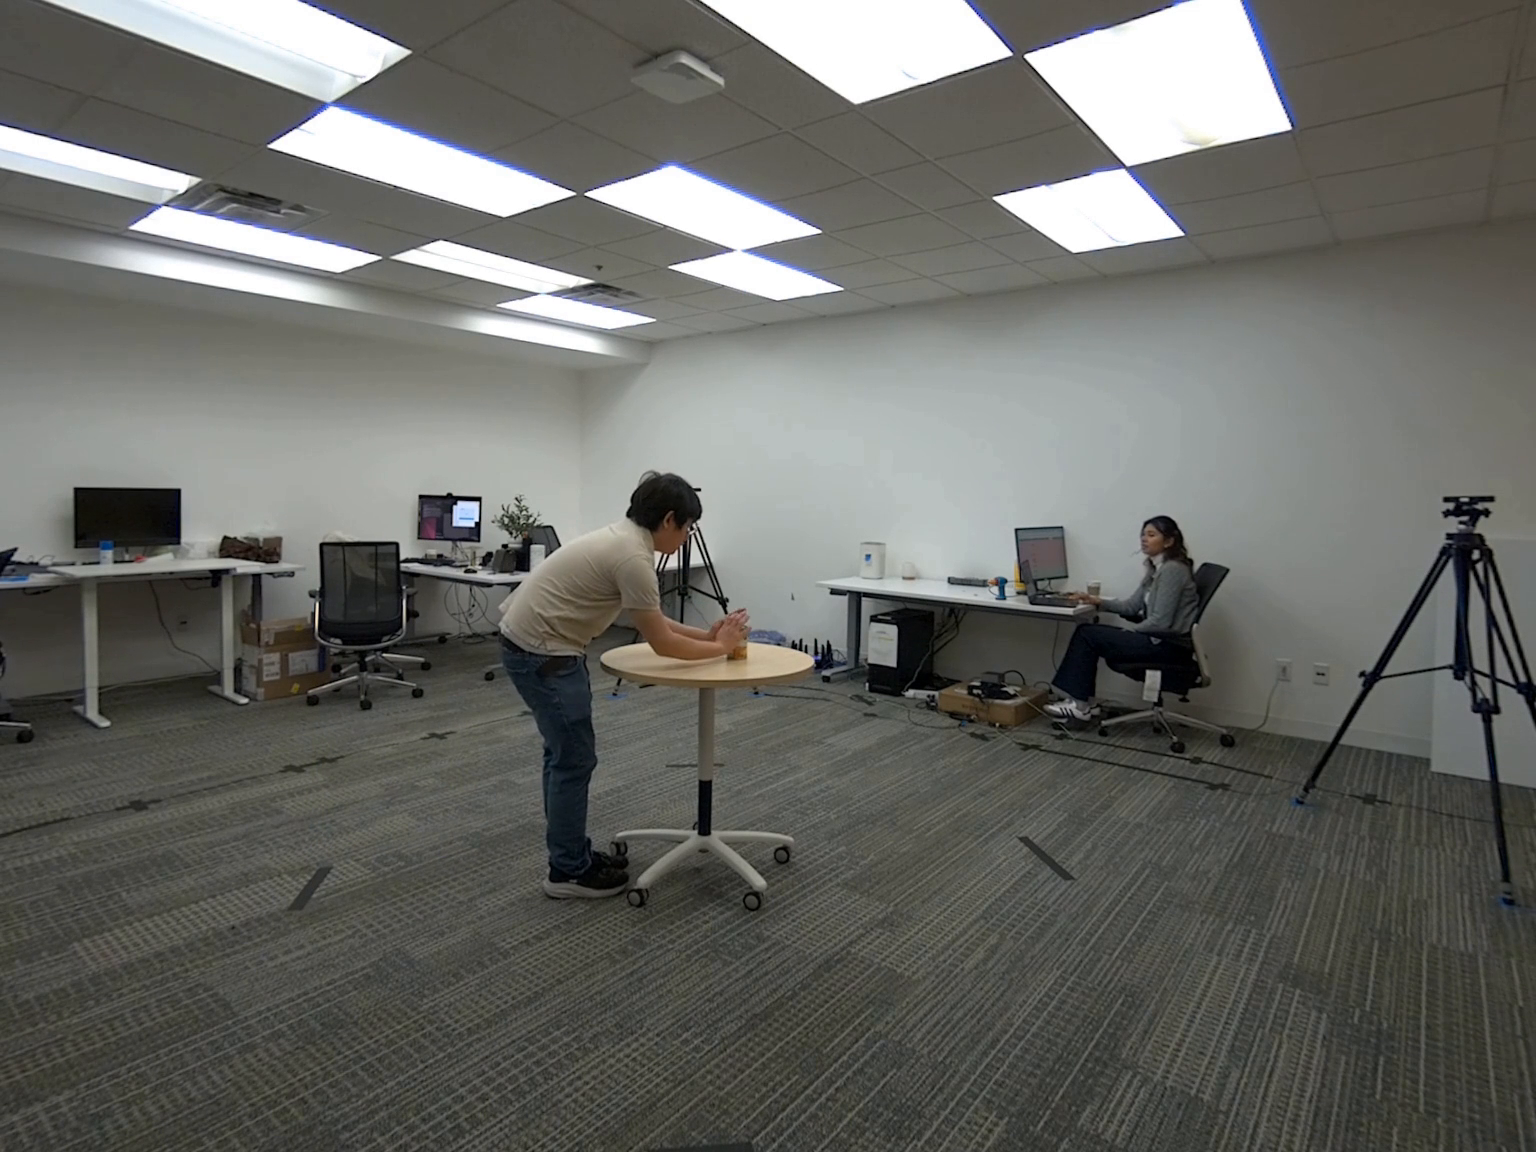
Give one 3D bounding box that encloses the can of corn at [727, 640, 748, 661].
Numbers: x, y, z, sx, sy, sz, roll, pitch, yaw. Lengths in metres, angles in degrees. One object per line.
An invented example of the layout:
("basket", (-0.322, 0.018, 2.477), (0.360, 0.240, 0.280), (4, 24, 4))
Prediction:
("can of corn", (-0.135, 0.239, 3.054), (0.074, 0.111, 0.074), (1, 3, -2))
